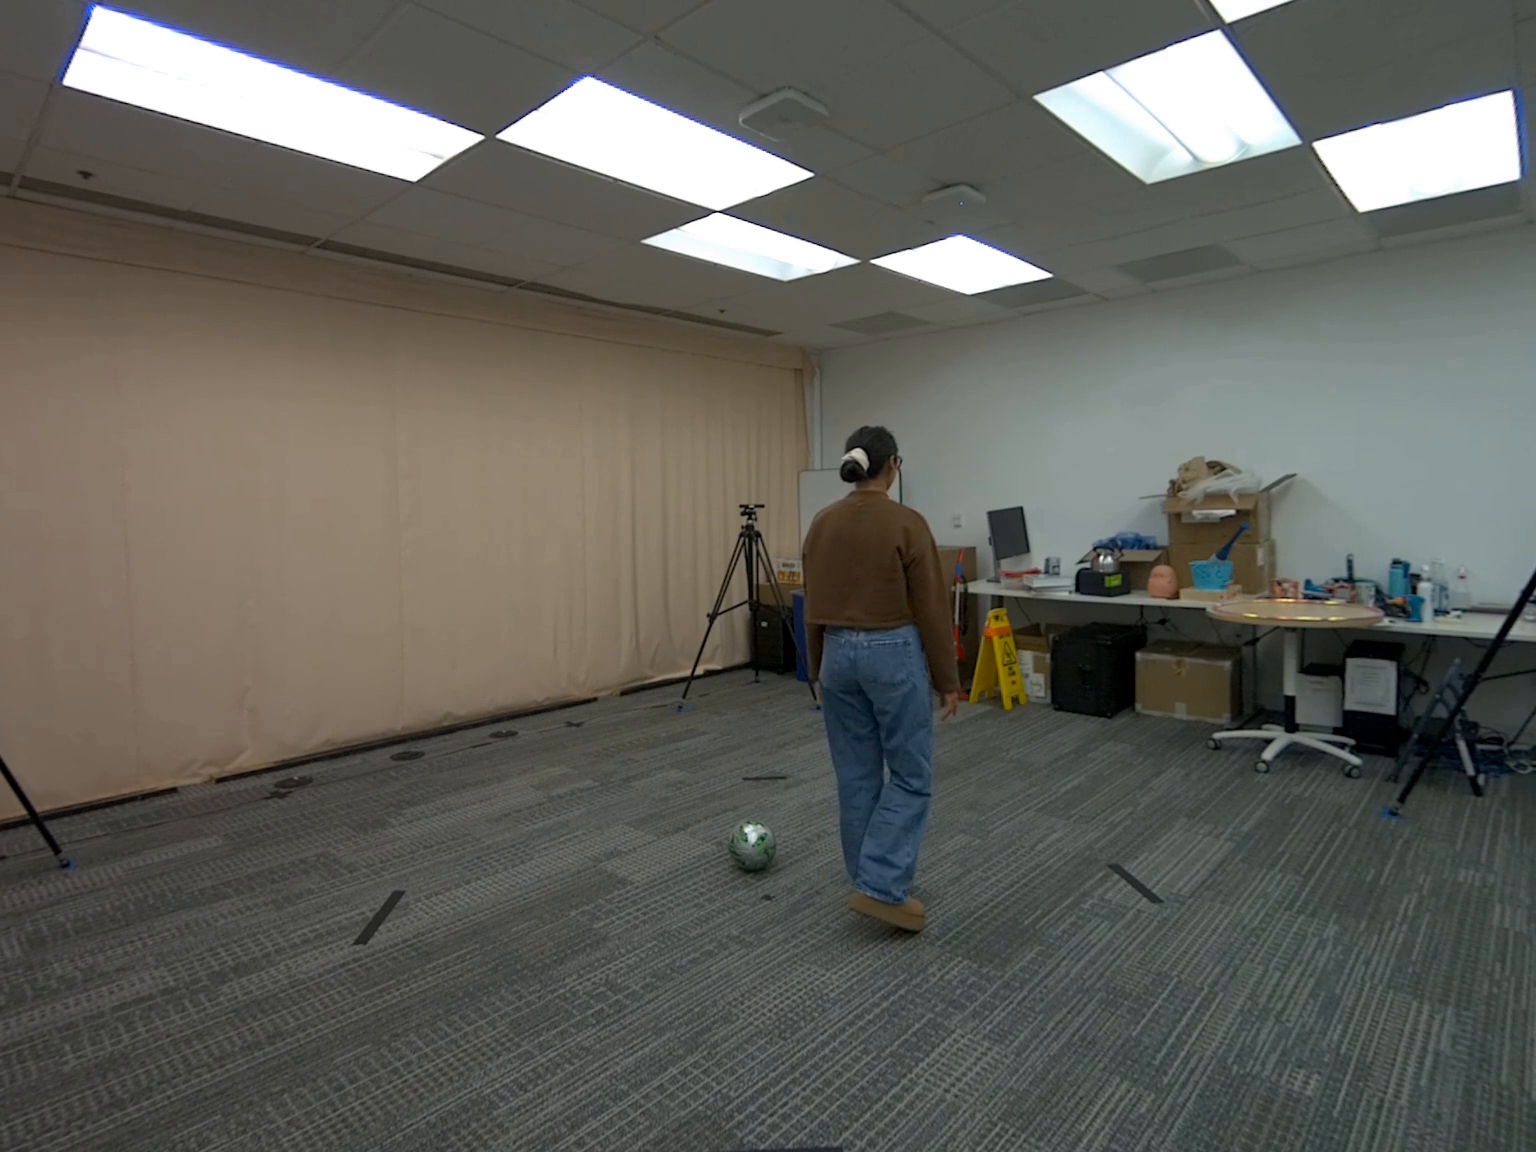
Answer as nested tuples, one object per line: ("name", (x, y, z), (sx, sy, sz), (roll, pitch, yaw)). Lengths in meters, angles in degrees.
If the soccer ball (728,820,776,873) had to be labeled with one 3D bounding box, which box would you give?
("soccer ball", (-0.060, 1.024, 3.216), (0.187, 0.187, 0.188), (-1, 4, -2))
